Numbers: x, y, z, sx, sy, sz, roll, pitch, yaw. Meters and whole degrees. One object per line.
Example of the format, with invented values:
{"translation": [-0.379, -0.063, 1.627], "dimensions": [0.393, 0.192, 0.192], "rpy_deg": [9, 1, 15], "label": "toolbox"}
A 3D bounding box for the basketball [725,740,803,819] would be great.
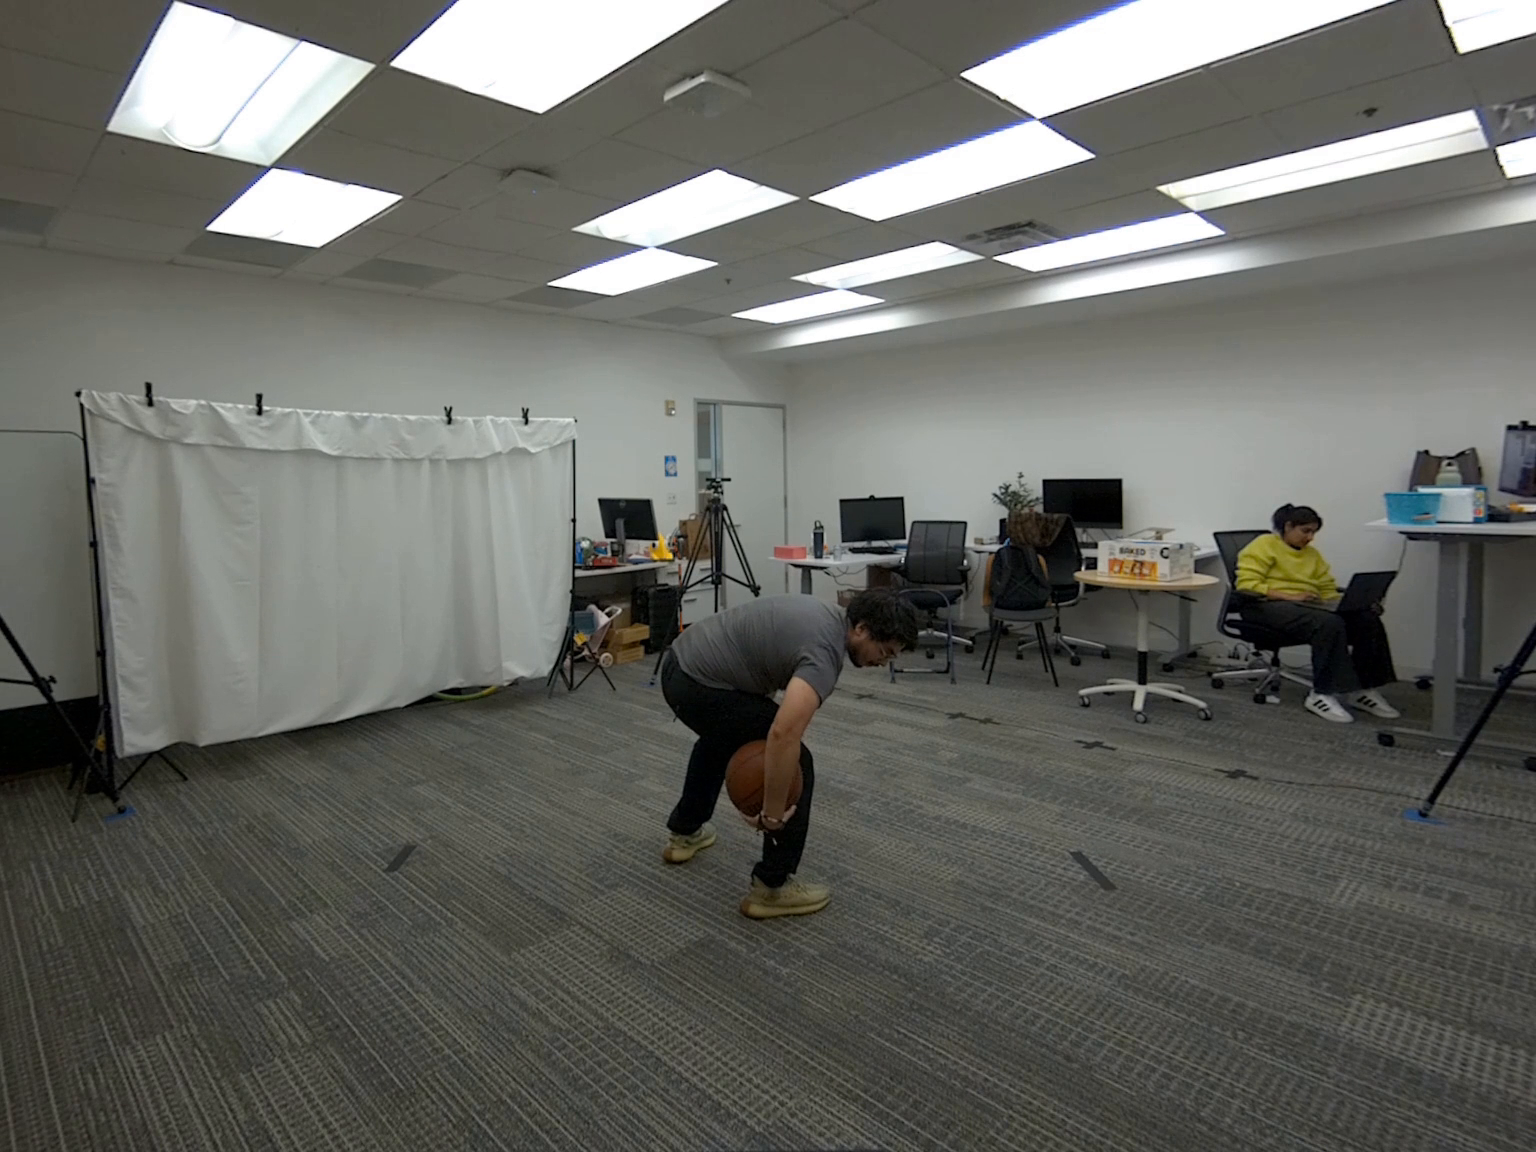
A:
{"translation": [-0.010, 0.628, 2.629], "dimensions": [0.236, 0.235, 0.237], "rpy_deg": [-1, 5, -2], "label": "basketball"}
